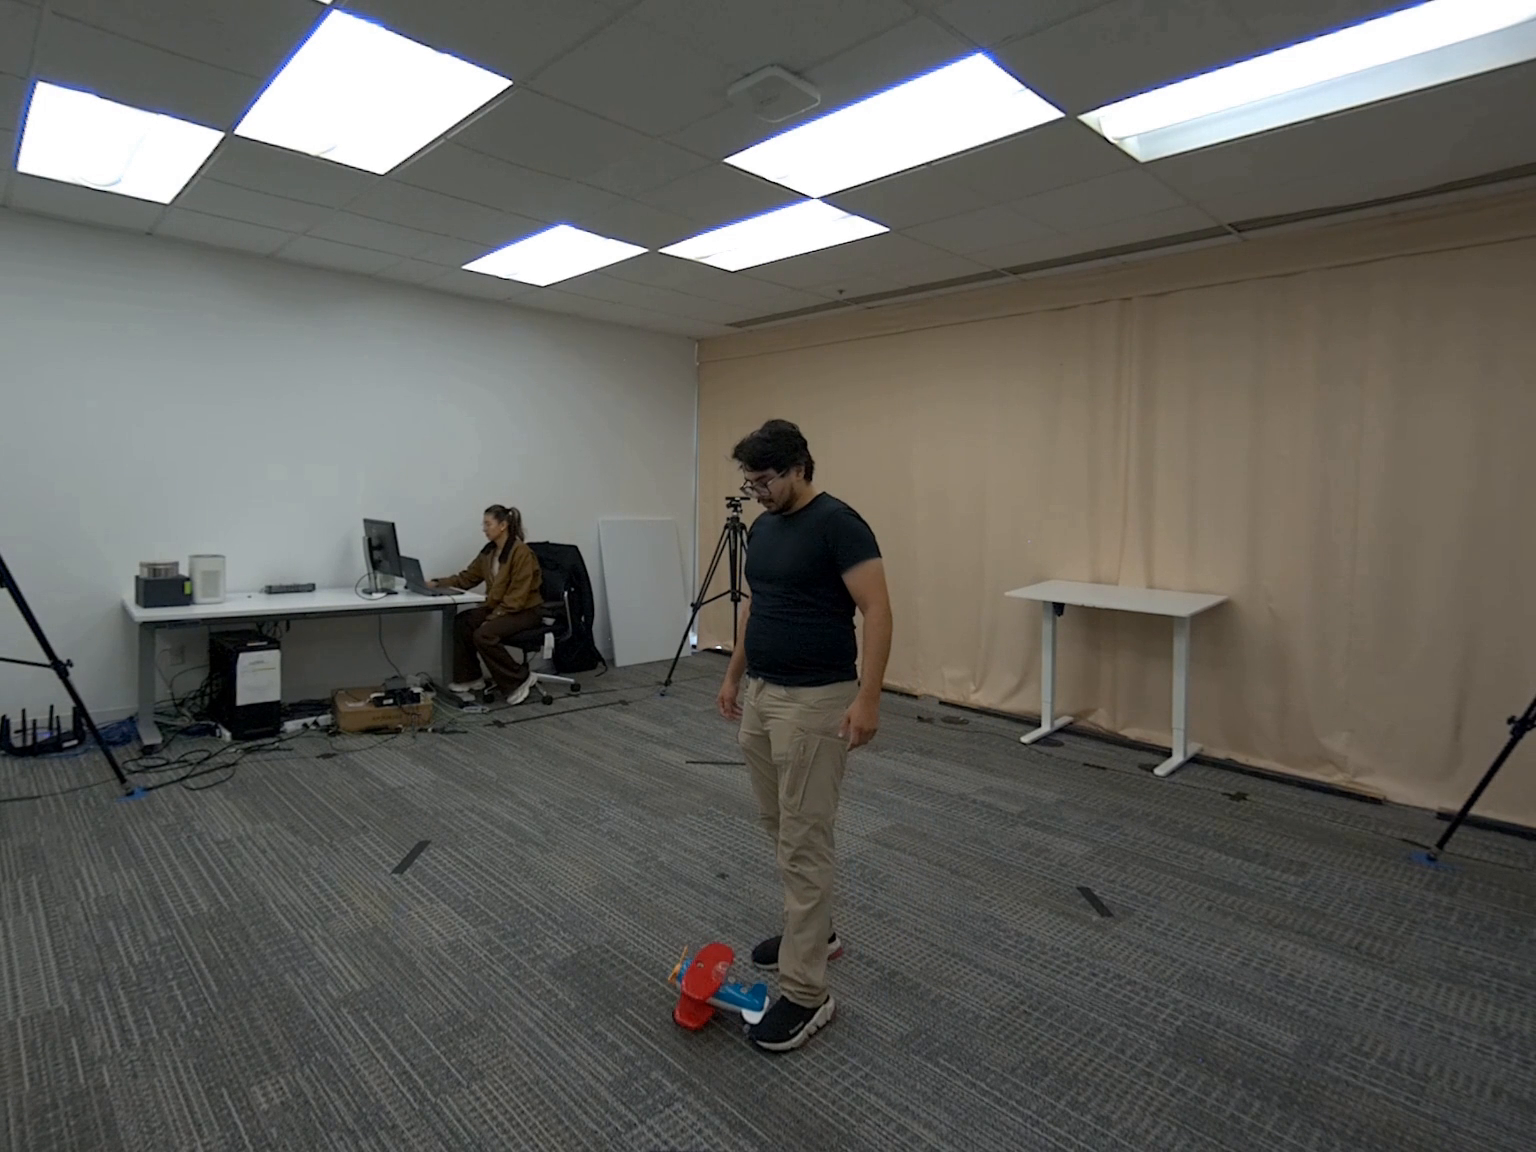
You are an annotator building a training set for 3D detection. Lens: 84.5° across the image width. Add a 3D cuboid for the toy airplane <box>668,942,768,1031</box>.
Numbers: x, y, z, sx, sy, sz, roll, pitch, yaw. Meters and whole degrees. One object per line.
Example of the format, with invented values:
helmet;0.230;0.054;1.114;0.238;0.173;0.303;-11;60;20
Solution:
toy airplane;-0.127;1.107;2.249;0.257;0.156;0.254;-2;5;-11
